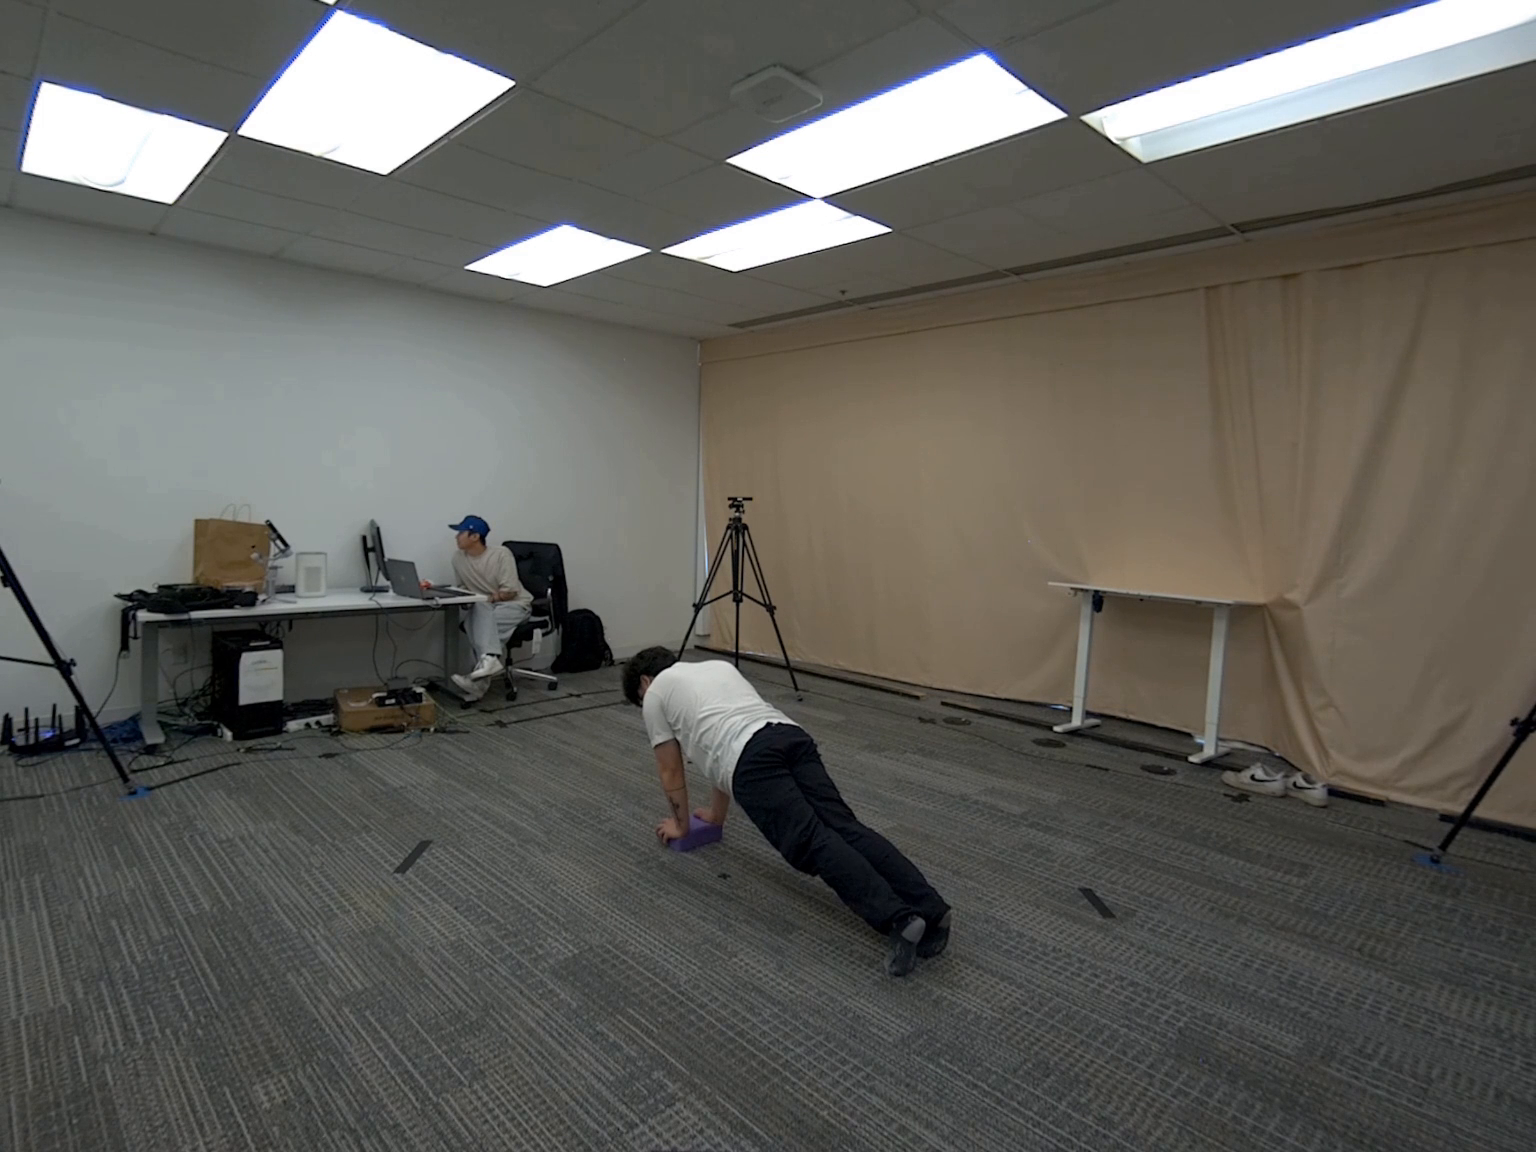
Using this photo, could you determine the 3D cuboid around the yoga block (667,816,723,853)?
[{"bbox_3d":[-0.323,1.043,3.425,0.153,0.076,0.224,6,7,45],"label":"yoga block"}]
